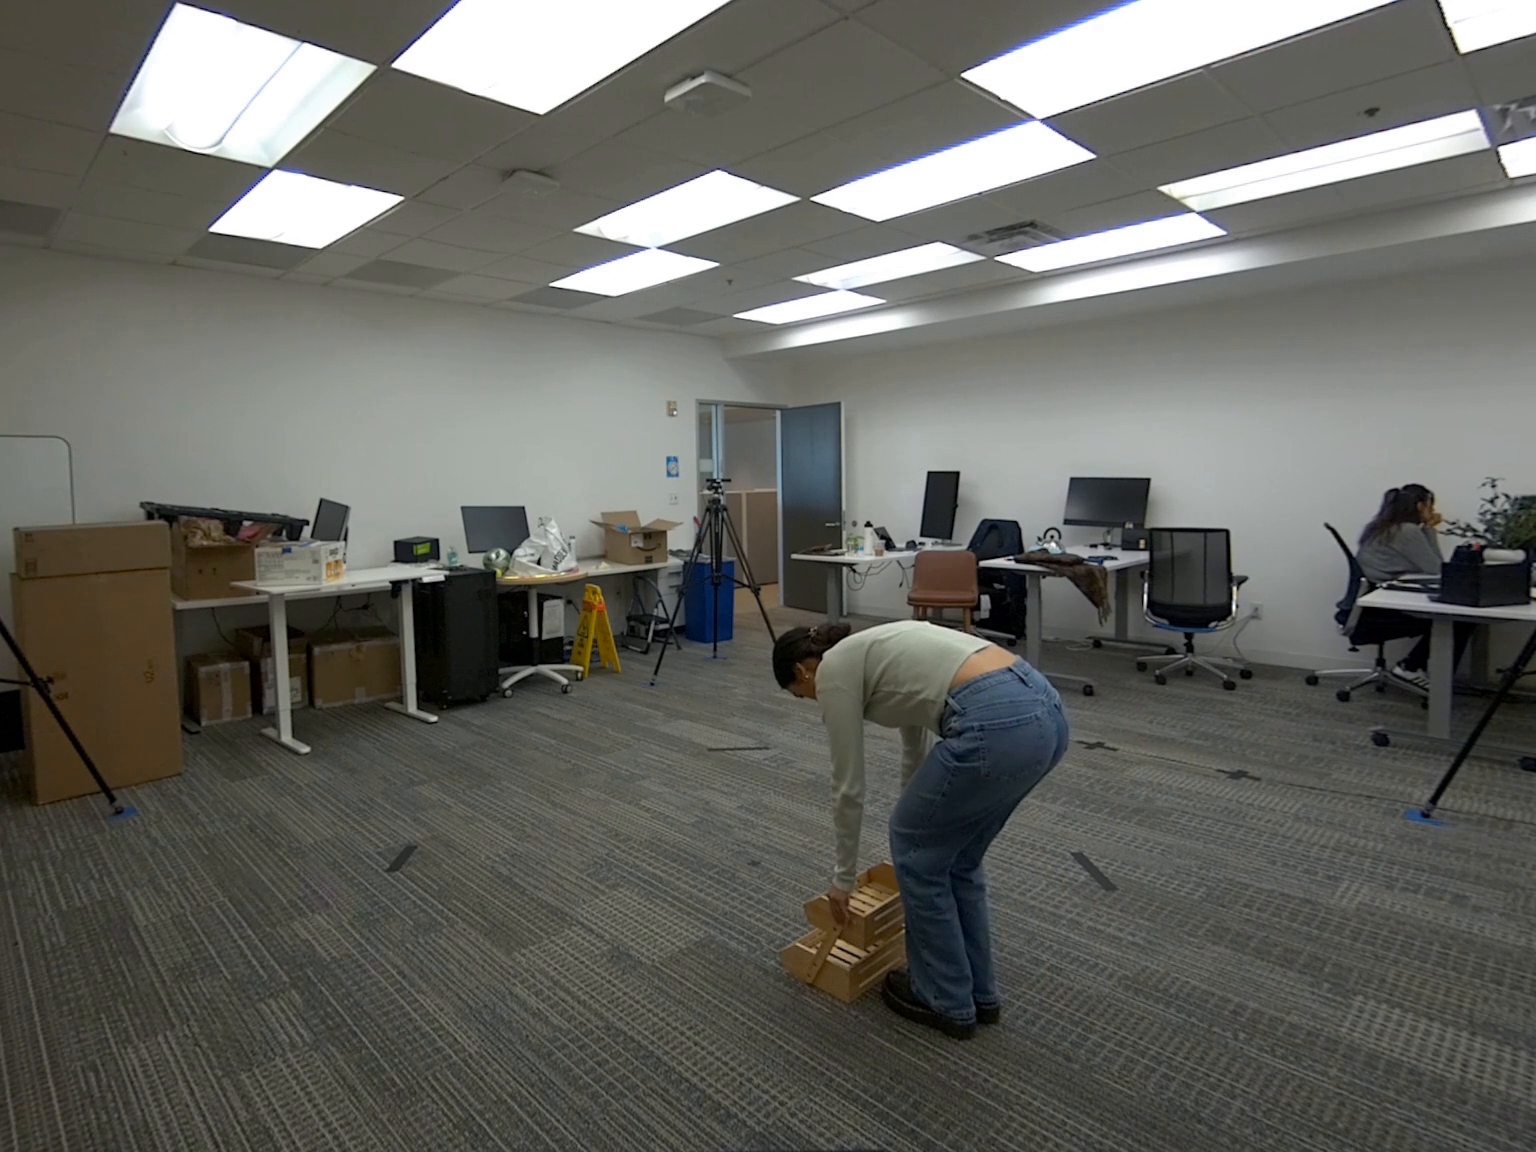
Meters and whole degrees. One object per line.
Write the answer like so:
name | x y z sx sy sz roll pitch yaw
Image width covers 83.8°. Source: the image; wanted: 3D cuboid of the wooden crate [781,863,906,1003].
wooden crate | 0.247 0.983 2.432 0.311 0.272 0.316 6 8 44
